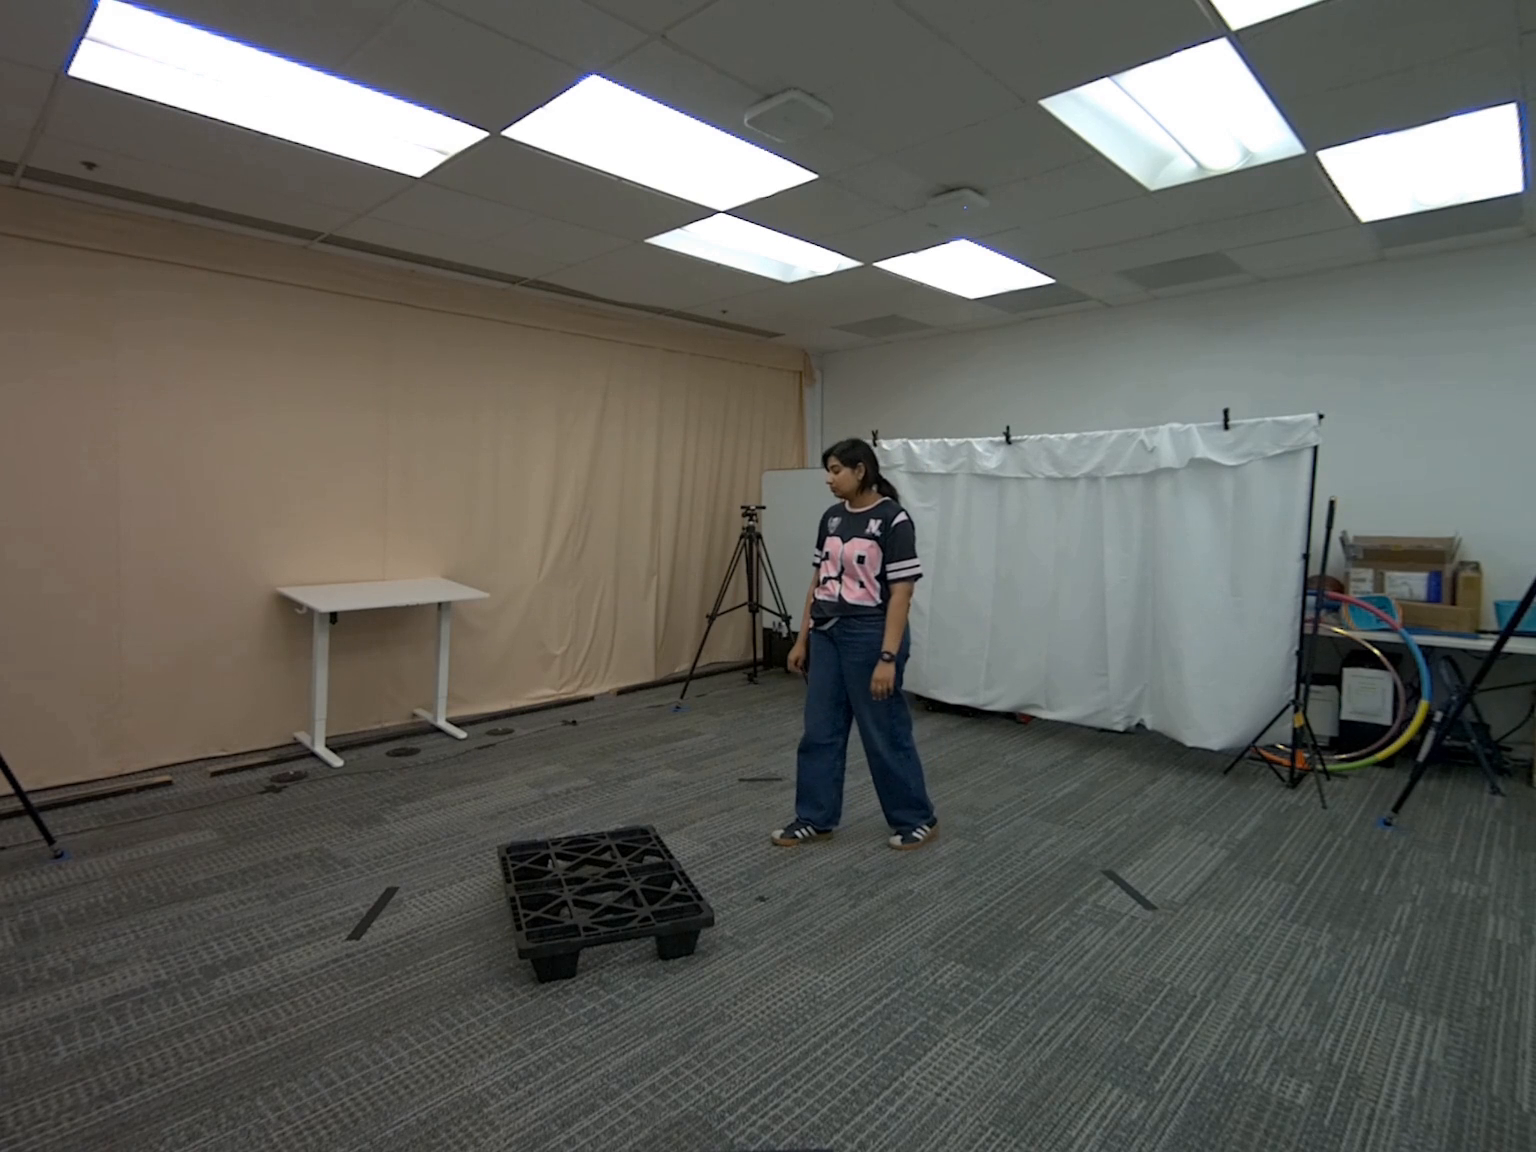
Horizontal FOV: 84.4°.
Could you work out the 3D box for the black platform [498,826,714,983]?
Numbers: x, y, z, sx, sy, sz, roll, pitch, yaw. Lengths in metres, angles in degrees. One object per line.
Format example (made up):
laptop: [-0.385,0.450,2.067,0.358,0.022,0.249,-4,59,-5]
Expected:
black platform: [-0.588,1.089,2.868,0.593,0.143,0.824,-3,5,-21]
